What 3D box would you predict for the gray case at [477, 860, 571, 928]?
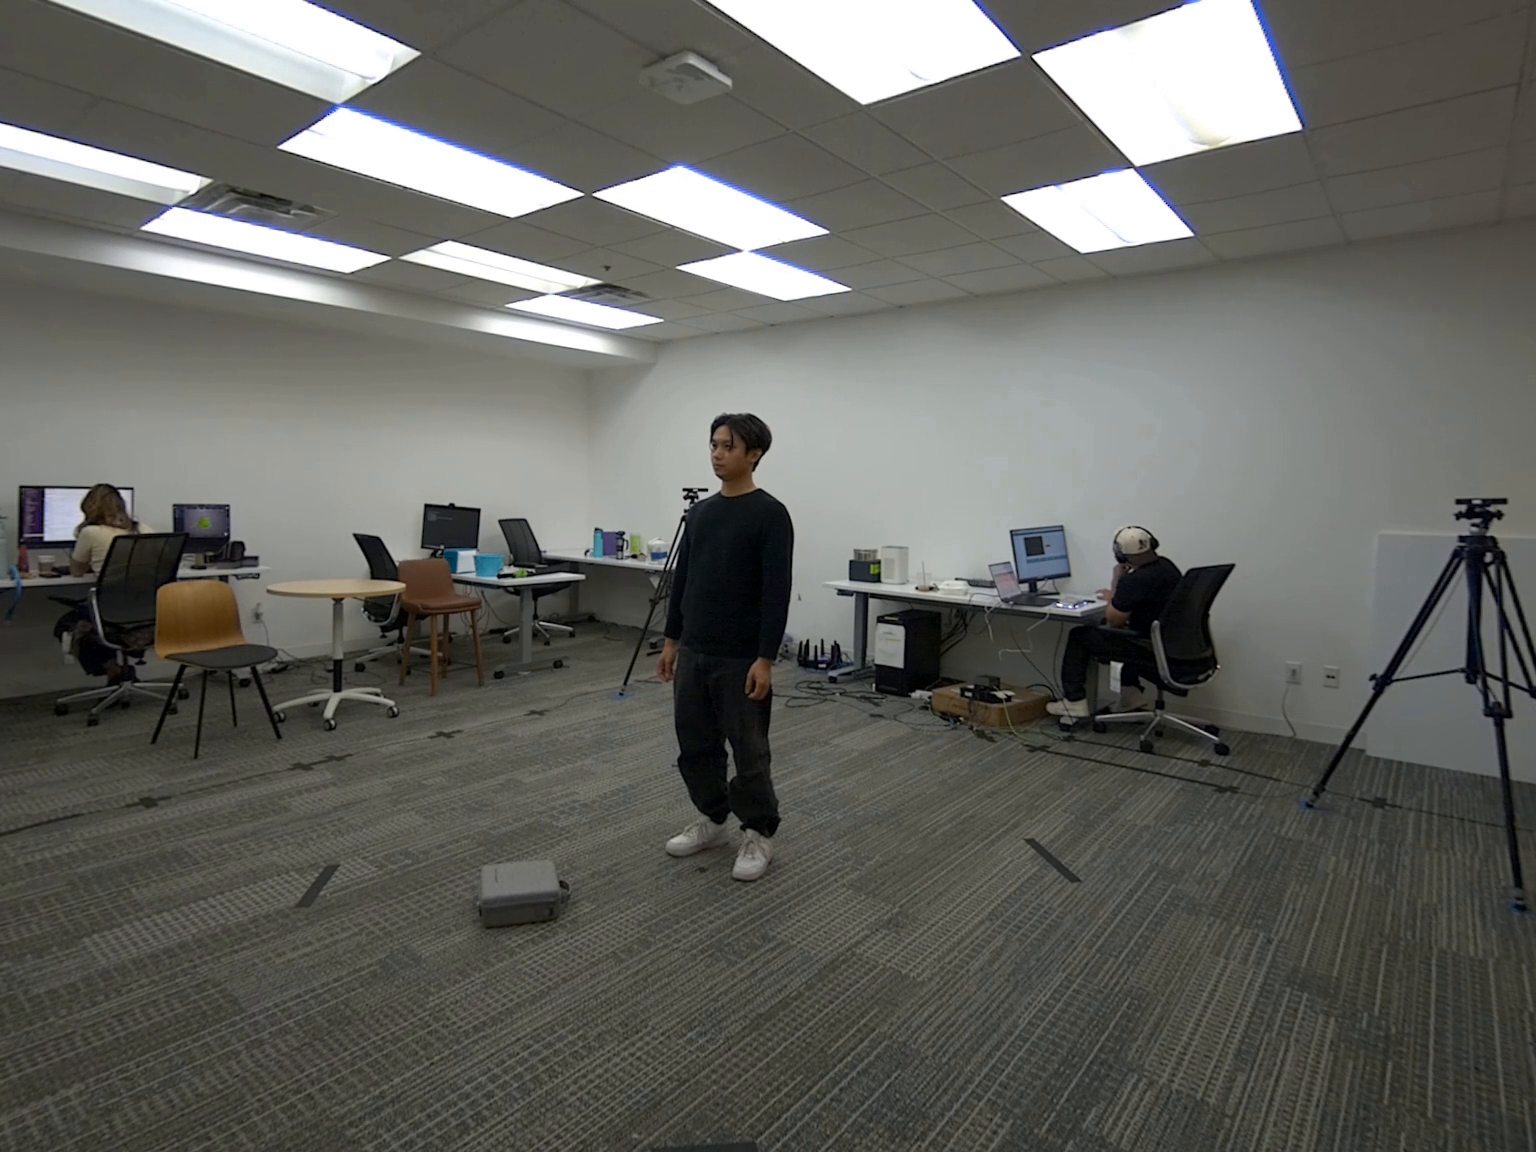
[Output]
[{"bbox_3d":[-0.827,1.035,2.803,0.256,0.104,0.262,1,4,-18],"label":"gray case"}]
